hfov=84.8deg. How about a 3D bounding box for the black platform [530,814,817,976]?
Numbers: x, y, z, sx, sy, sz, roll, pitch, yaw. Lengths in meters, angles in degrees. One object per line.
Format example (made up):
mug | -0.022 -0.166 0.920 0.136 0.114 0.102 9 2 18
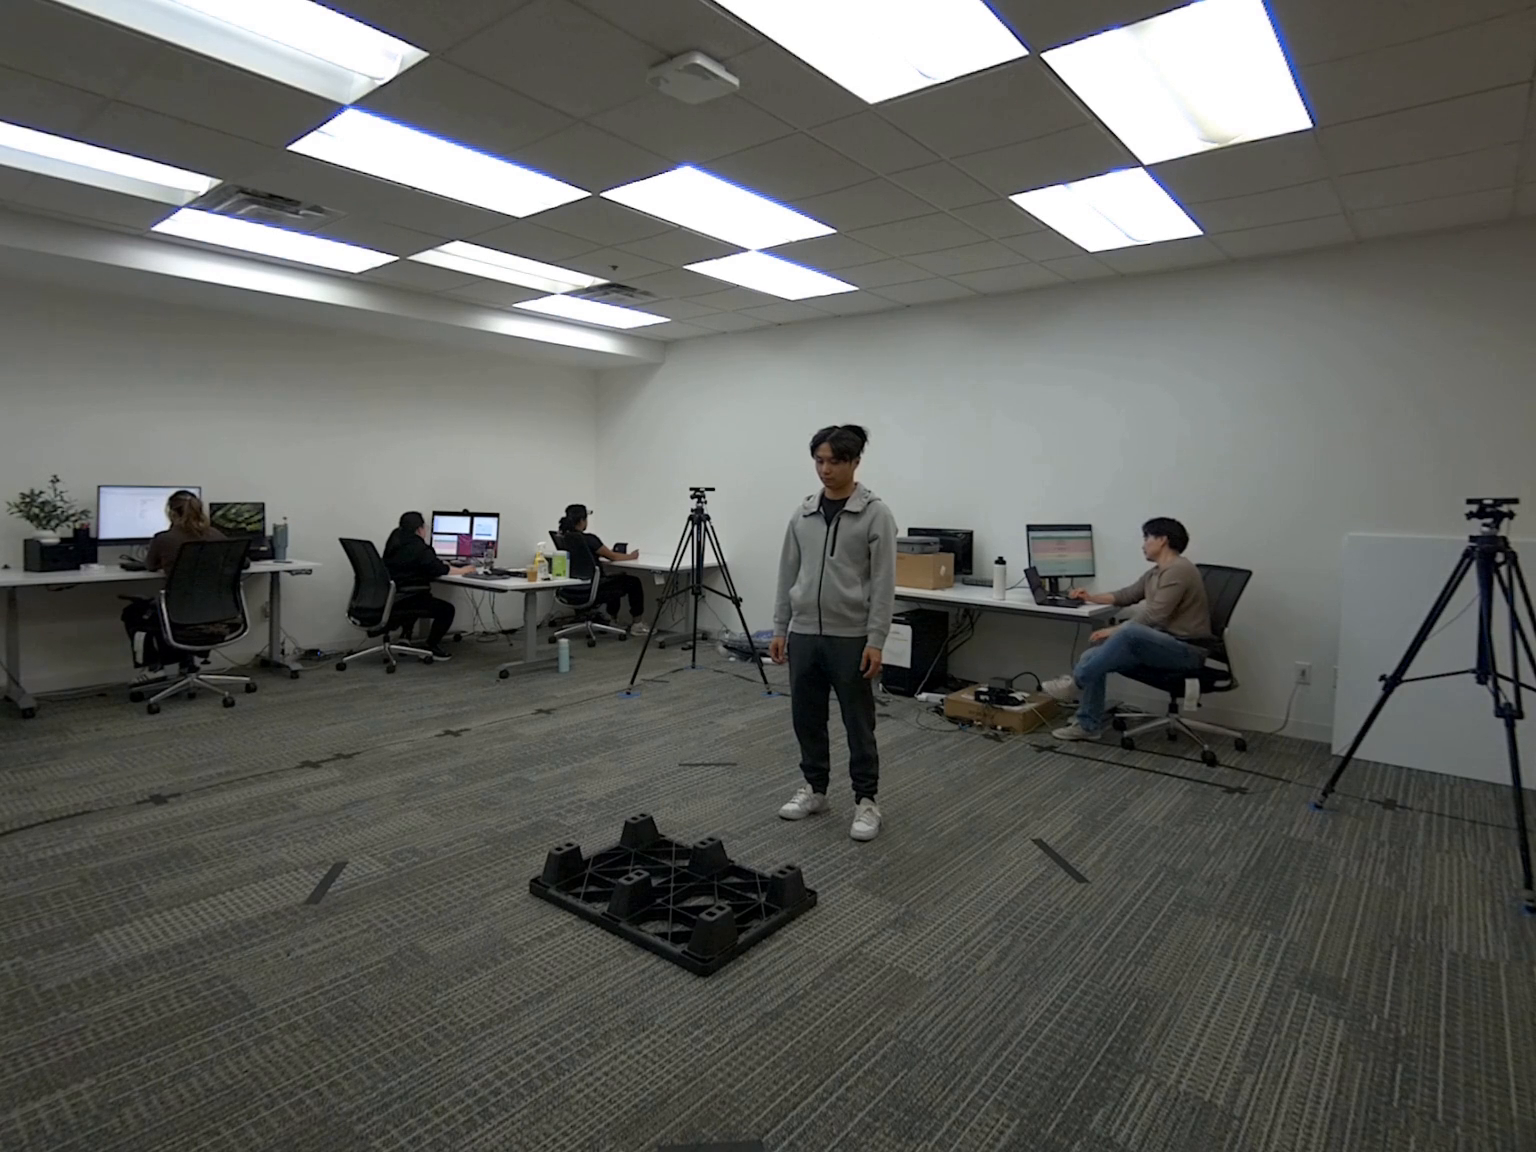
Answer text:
black platform | -0.340 1.020 2.881 0.832 0.143 0.588 5 6 37
